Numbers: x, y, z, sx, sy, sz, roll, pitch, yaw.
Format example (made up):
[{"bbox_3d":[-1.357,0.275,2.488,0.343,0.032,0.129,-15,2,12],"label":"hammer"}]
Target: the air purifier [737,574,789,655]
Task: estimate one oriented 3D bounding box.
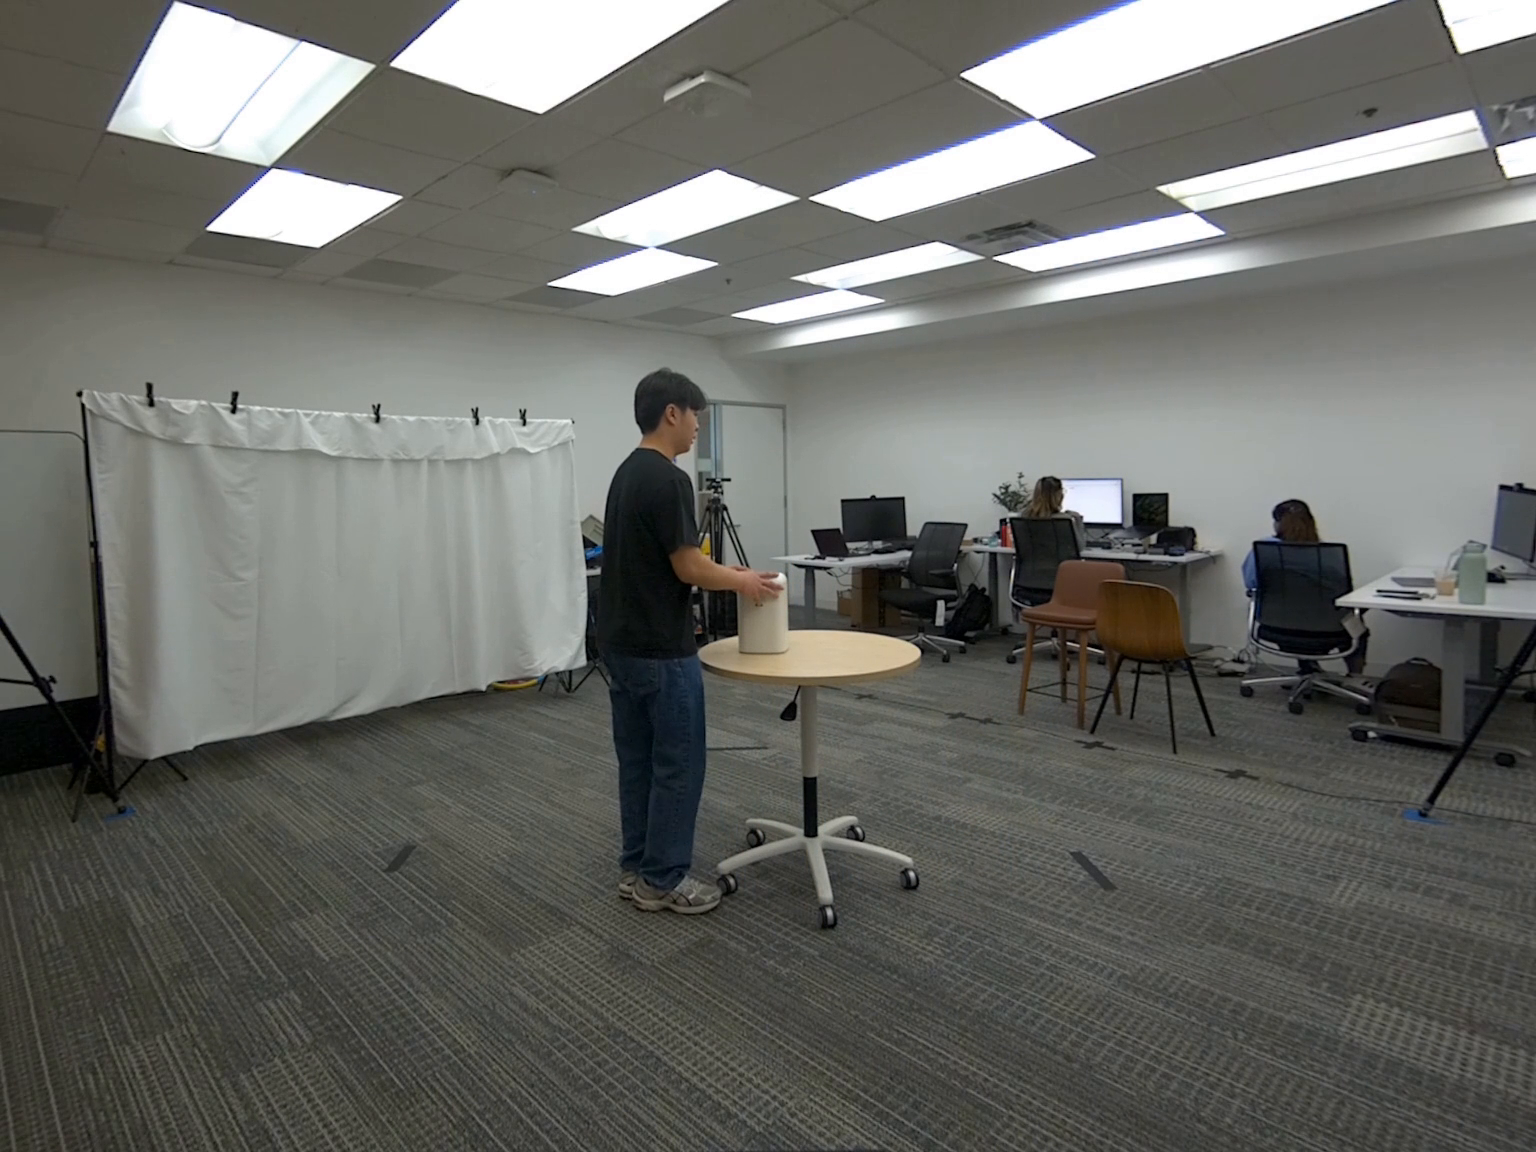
[{"bbox_3d":[-0.020,0.127,3.000,0.172,0.265,0.170,0,2,8],"label":"air purifier"}]
